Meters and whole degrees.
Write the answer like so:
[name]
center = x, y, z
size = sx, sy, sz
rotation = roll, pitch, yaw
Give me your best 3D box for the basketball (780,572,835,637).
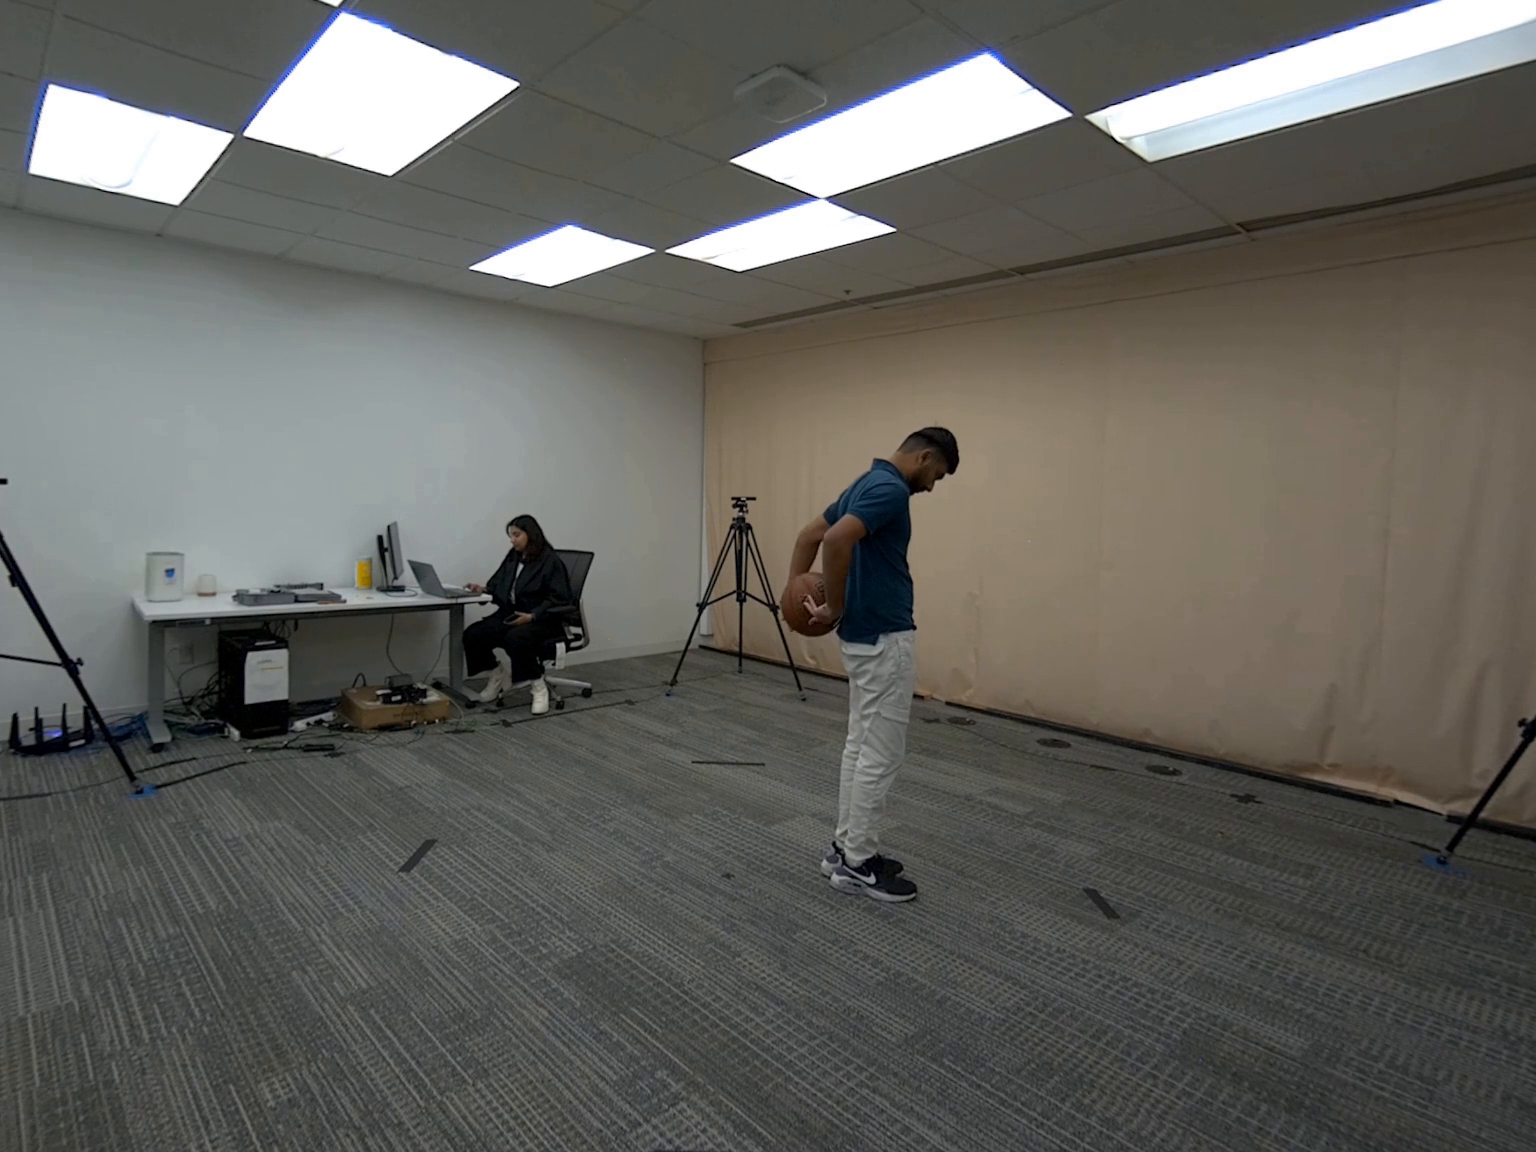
[basketball]
center = 0.172, 0.104, 3.109
size = 0.236, 0.235, 0.237
rotation = 1, 4, -1
